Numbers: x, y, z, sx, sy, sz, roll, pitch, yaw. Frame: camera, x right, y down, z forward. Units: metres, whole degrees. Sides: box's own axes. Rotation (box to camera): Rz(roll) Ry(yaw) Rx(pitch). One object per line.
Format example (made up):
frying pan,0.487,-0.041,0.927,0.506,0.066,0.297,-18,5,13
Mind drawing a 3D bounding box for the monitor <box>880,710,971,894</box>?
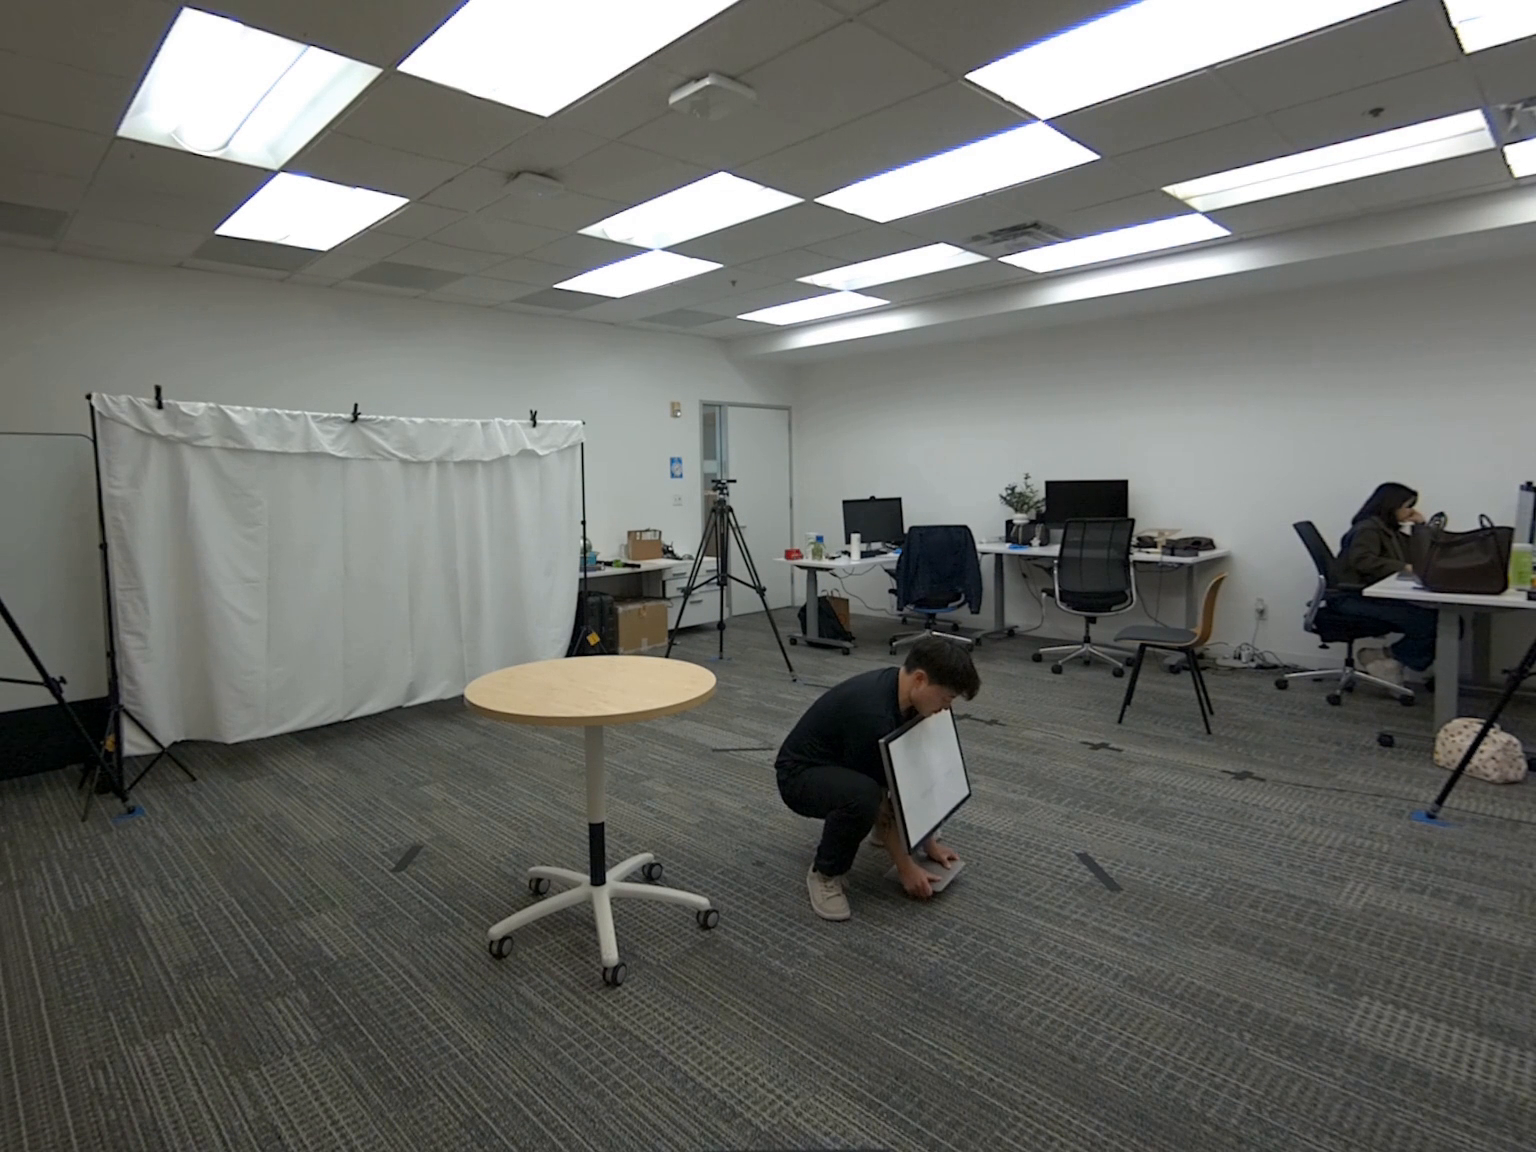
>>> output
monitor,0.516,0.741,2.897,0.192,0.520,0.527,-1,6,32
